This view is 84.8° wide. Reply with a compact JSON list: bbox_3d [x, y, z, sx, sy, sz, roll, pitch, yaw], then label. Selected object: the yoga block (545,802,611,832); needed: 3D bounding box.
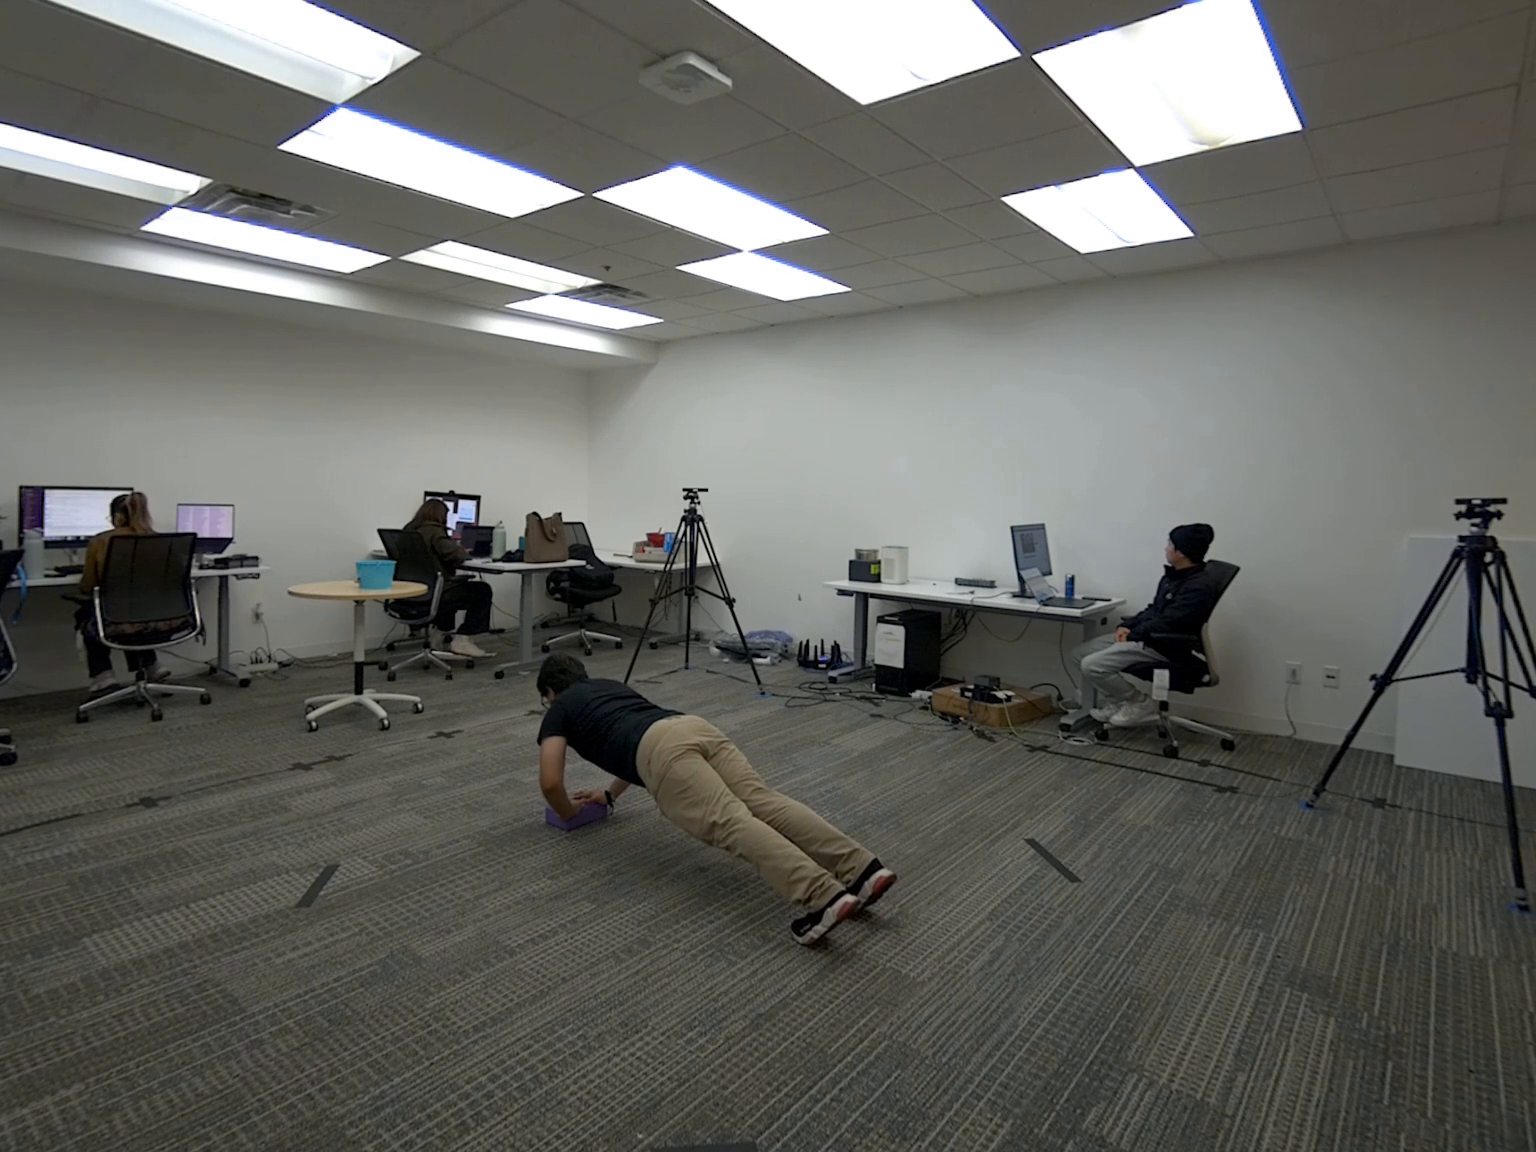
[{"bbox_3d":[-0.813,0.982,3.563,0.154,0.076,0.223,3,6,36],"label":"yoga block"}]
